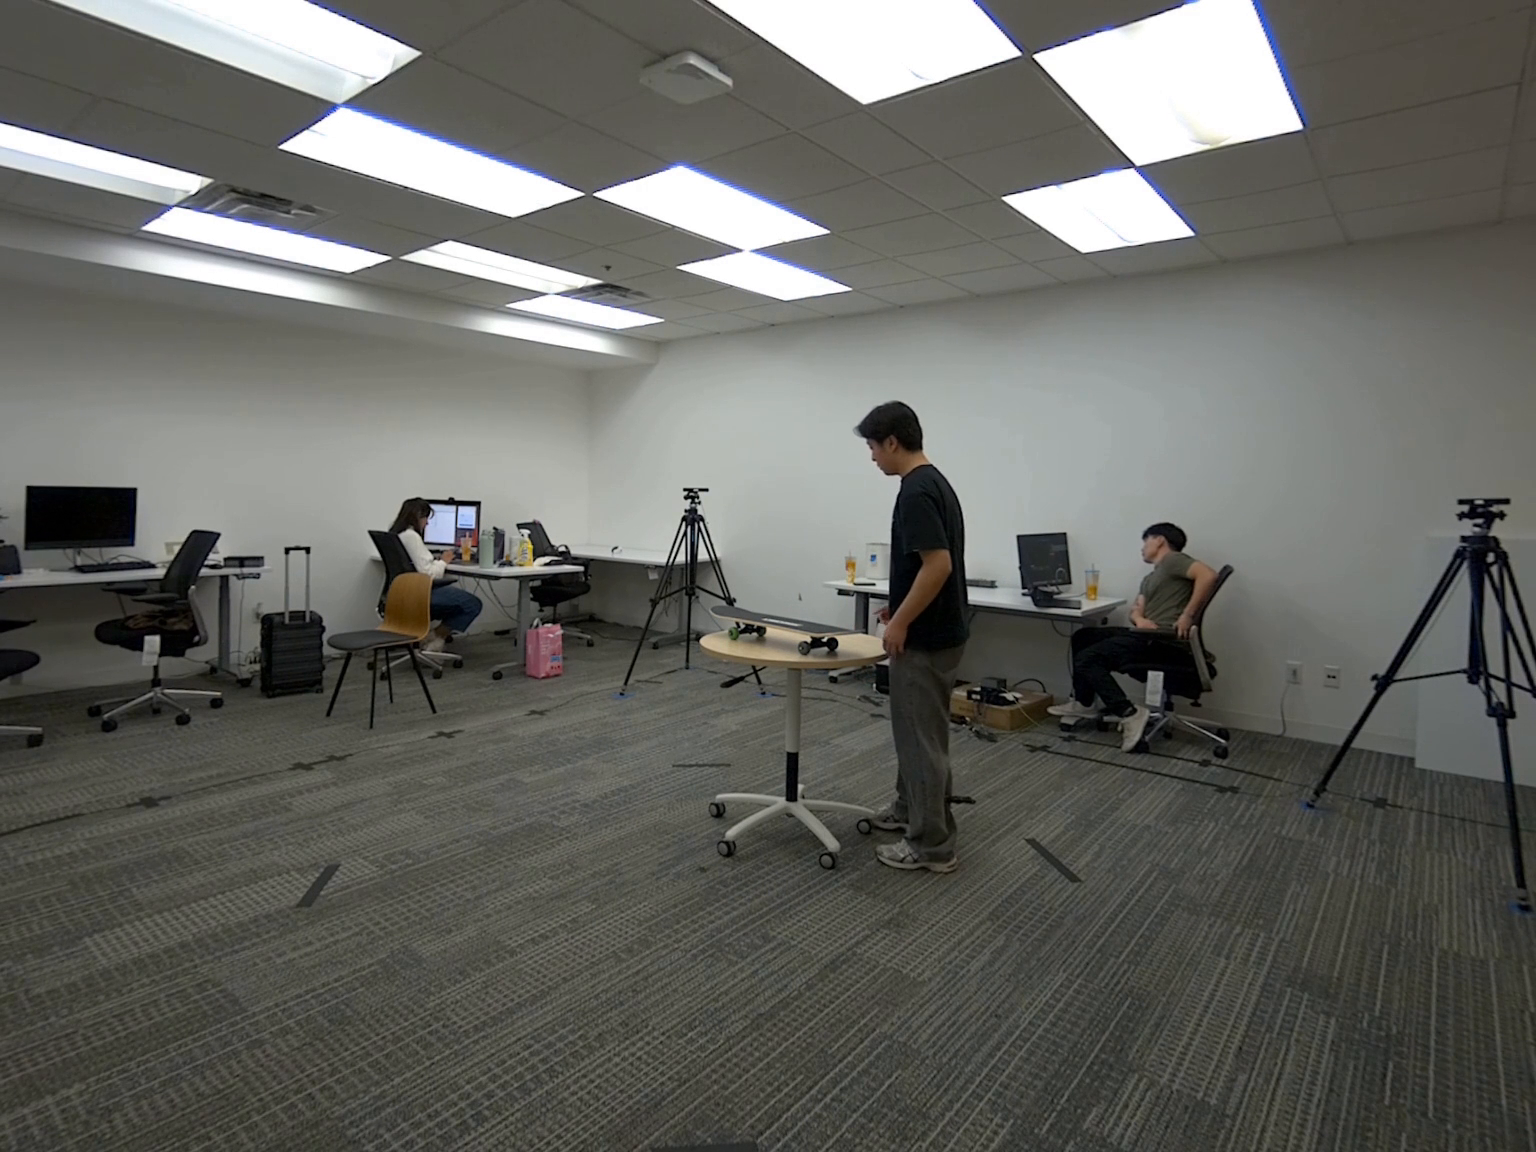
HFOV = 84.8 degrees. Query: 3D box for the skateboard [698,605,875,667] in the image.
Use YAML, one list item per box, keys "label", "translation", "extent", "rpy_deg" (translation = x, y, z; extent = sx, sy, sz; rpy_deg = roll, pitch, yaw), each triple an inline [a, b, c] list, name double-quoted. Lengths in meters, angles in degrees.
- label: "skateboard"
  translation: [0.046, 0.223, 3.329]
  extent: [0.188, 0.110, 0.813]
  rpy_deg: [-4, 8, -42]
